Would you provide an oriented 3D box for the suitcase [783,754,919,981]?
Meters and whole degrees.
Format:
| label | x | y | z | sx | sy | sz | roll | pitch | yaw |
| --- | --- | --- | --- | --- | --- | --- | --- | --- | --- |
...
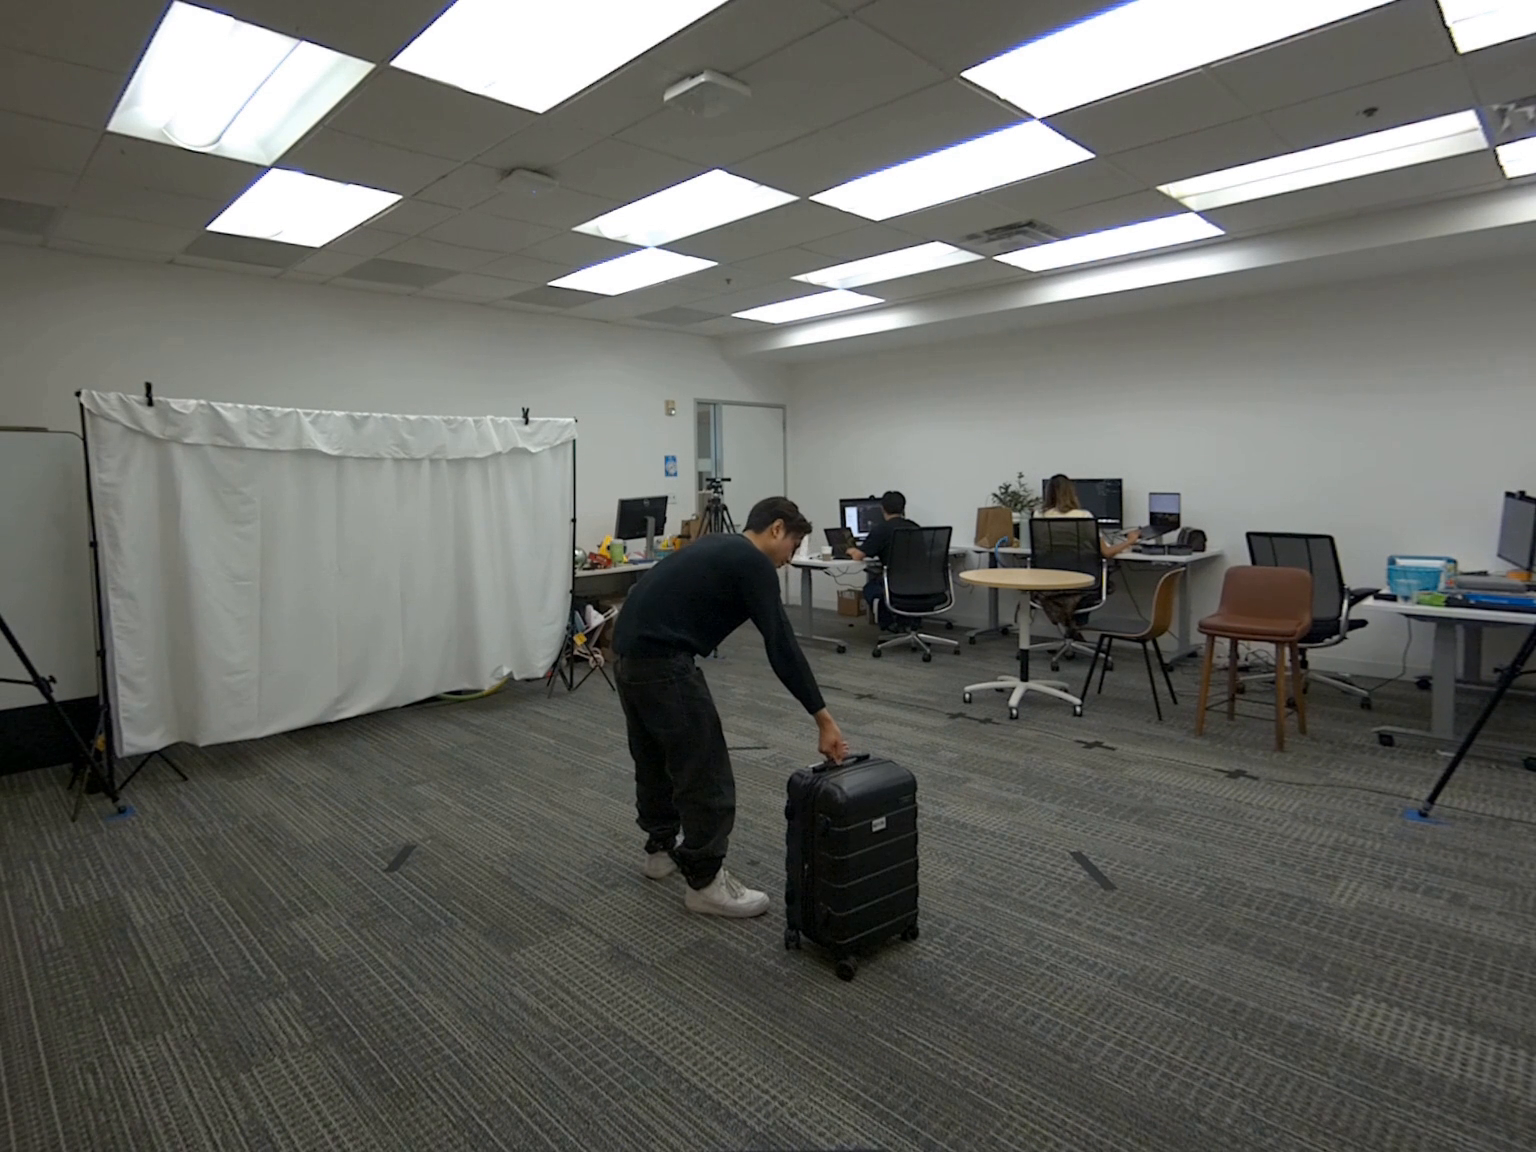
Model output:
| label | x | y | z | sx | sy | sz | roll | pitch | yaw |
| --- | --- | --- | --- | --- | --- | --- | --- | --- | --- |
| suitcase | 0.259 | 0.825 | 2.538 | 0.366 | 0.547 | 0.256 | -4 | 6 | -36 |
